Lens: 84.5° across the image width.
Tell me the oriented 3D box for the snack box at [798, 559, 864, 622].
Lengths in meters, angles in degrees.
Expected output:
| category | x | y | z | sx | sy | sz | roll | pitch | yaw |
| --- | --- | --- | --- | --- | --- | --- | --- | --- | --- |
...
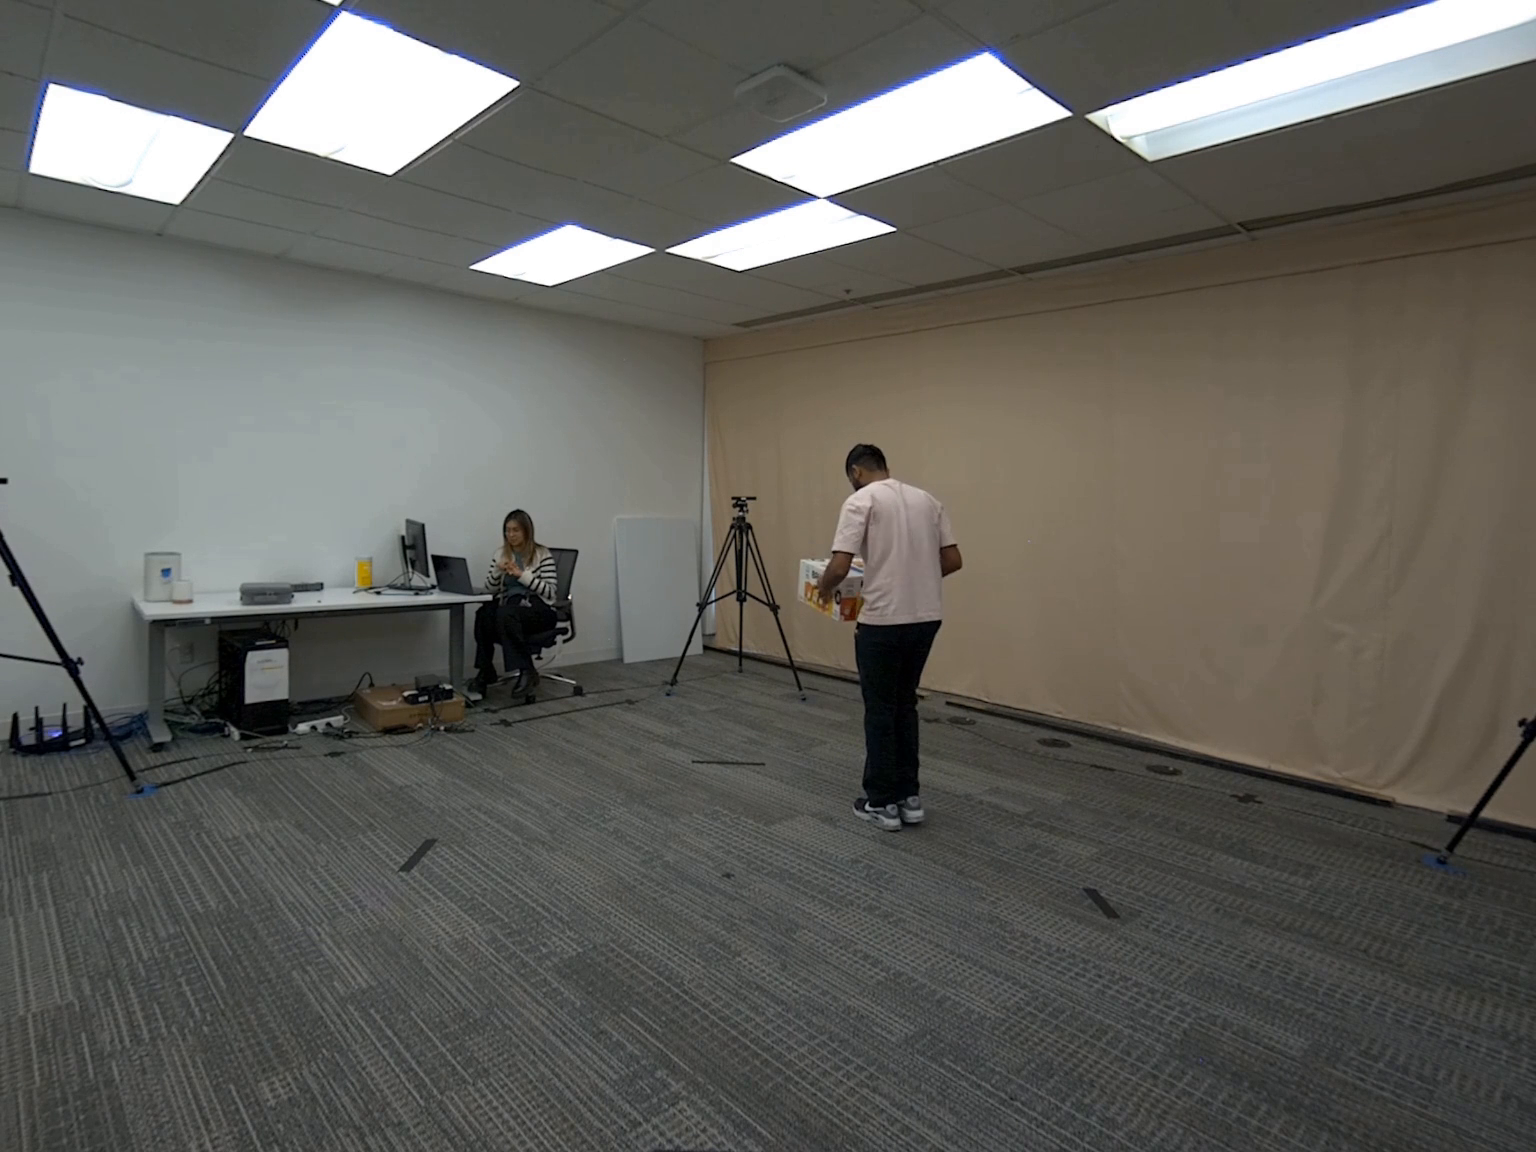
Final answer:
| category | x | y | z | sx | sy | sz | roll | pitch | yaw |
| --- | --- | --- | --- | --- | --- | --- | --- | --- | --- |
| snack box | 0.377 | 0.066 | 3.976 | 0.334 | 0.204 | 0.415 | -1 | 12 | -24 |
